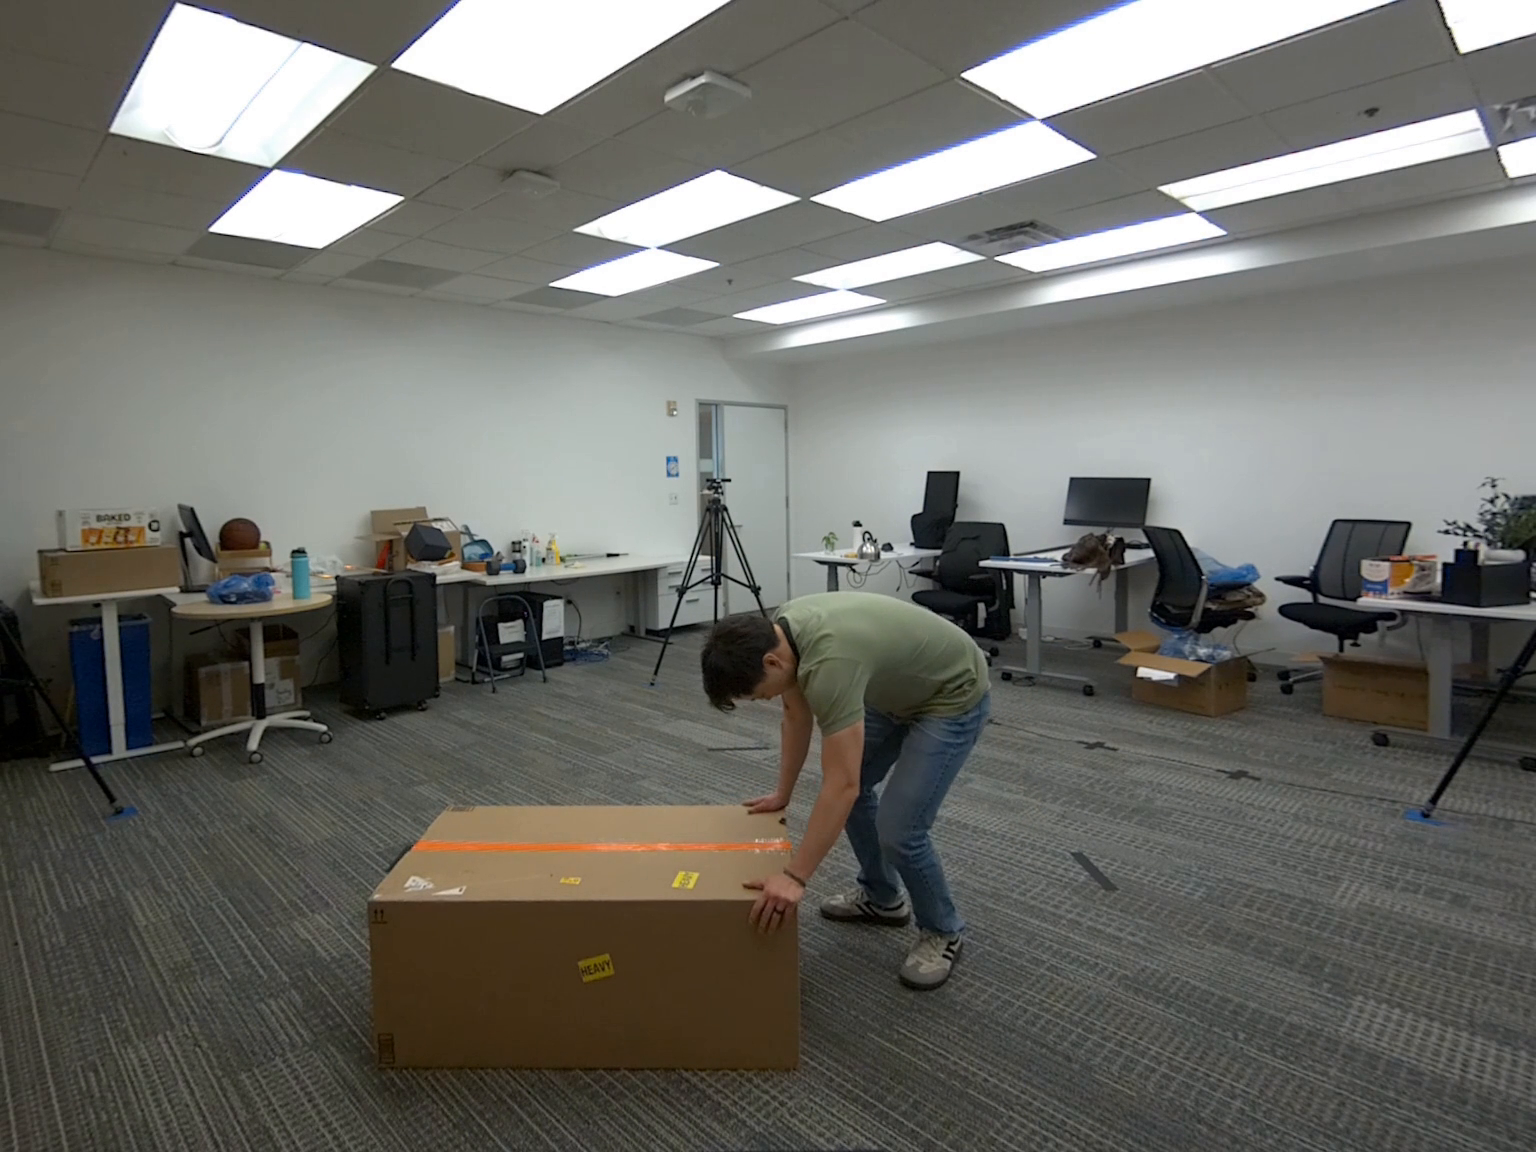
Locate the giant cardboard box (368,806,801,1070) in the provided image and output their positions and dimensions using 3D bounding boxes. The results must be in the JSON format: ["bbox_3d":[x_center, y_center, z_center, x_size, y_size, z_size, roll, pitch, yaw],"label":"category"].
[{"bbox_3d":[-0.448,0.929,2.300,1.026,0.424,0.580,0,6,0],"label":"giant cardboard box"}]
